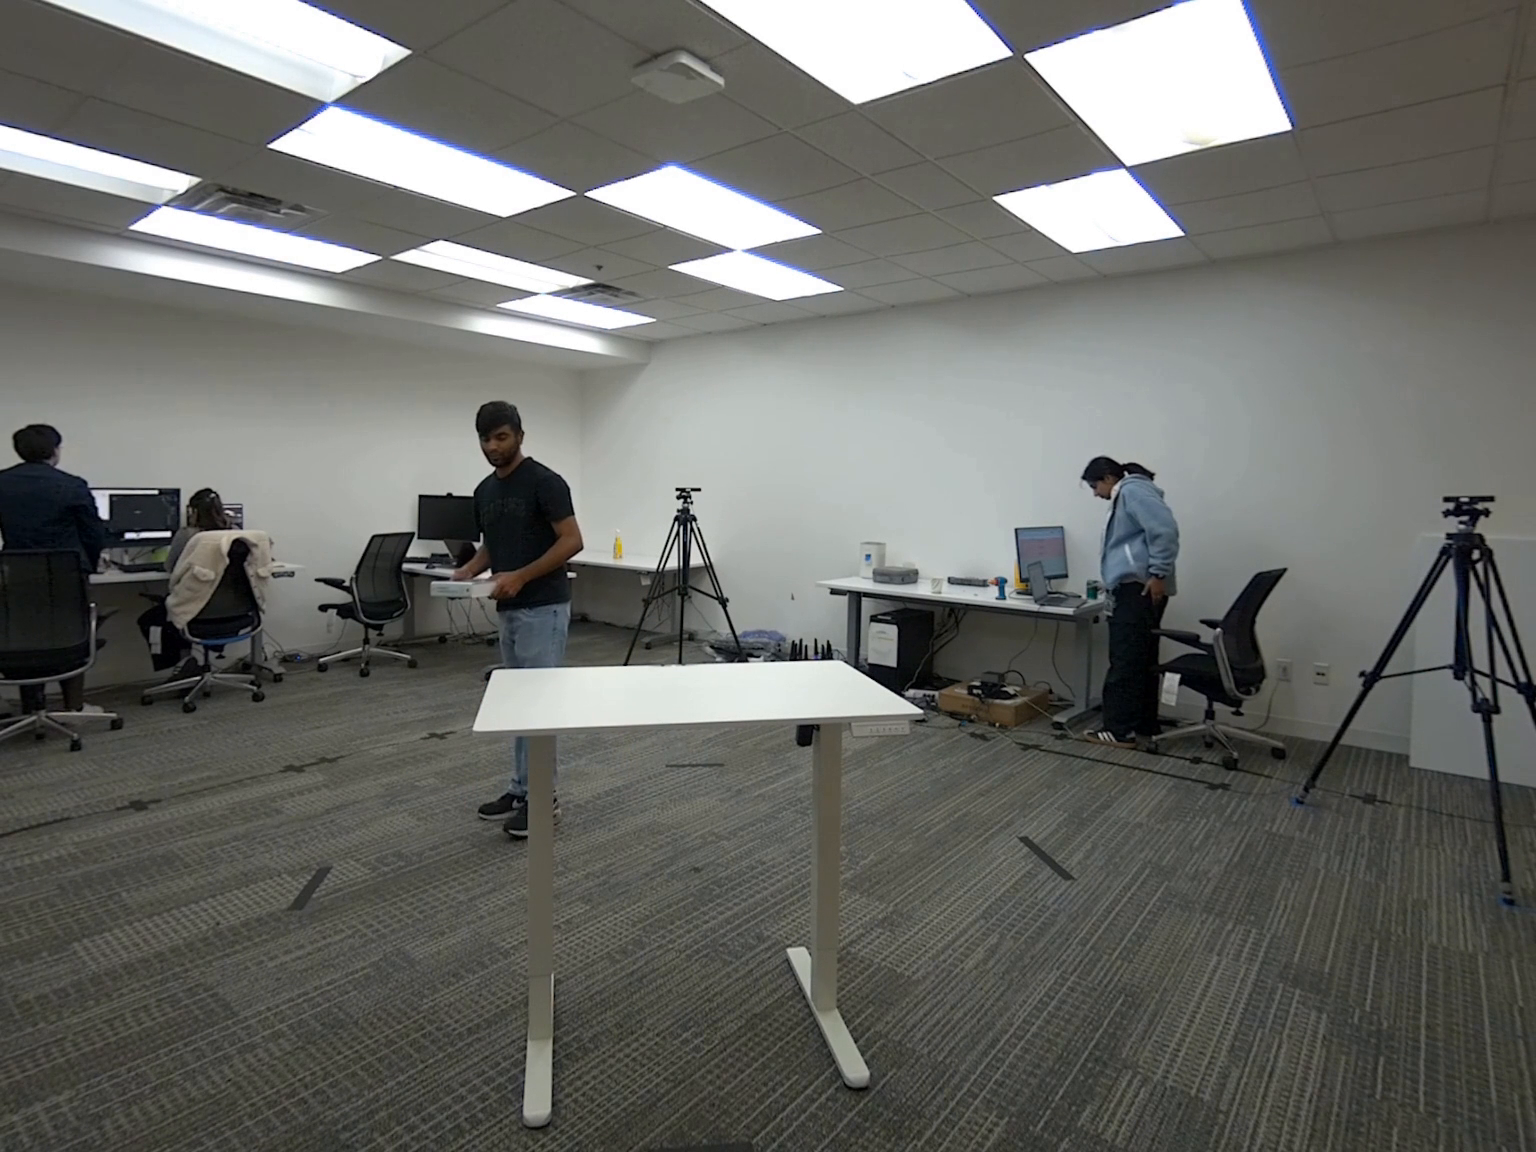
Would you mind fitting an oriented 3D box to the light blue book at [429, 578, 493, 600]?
[{"bbox_3d":[-1.216,0.041,3.394,0.268,0.059,0.186,1,3,28],"label":"light blue book"}]
